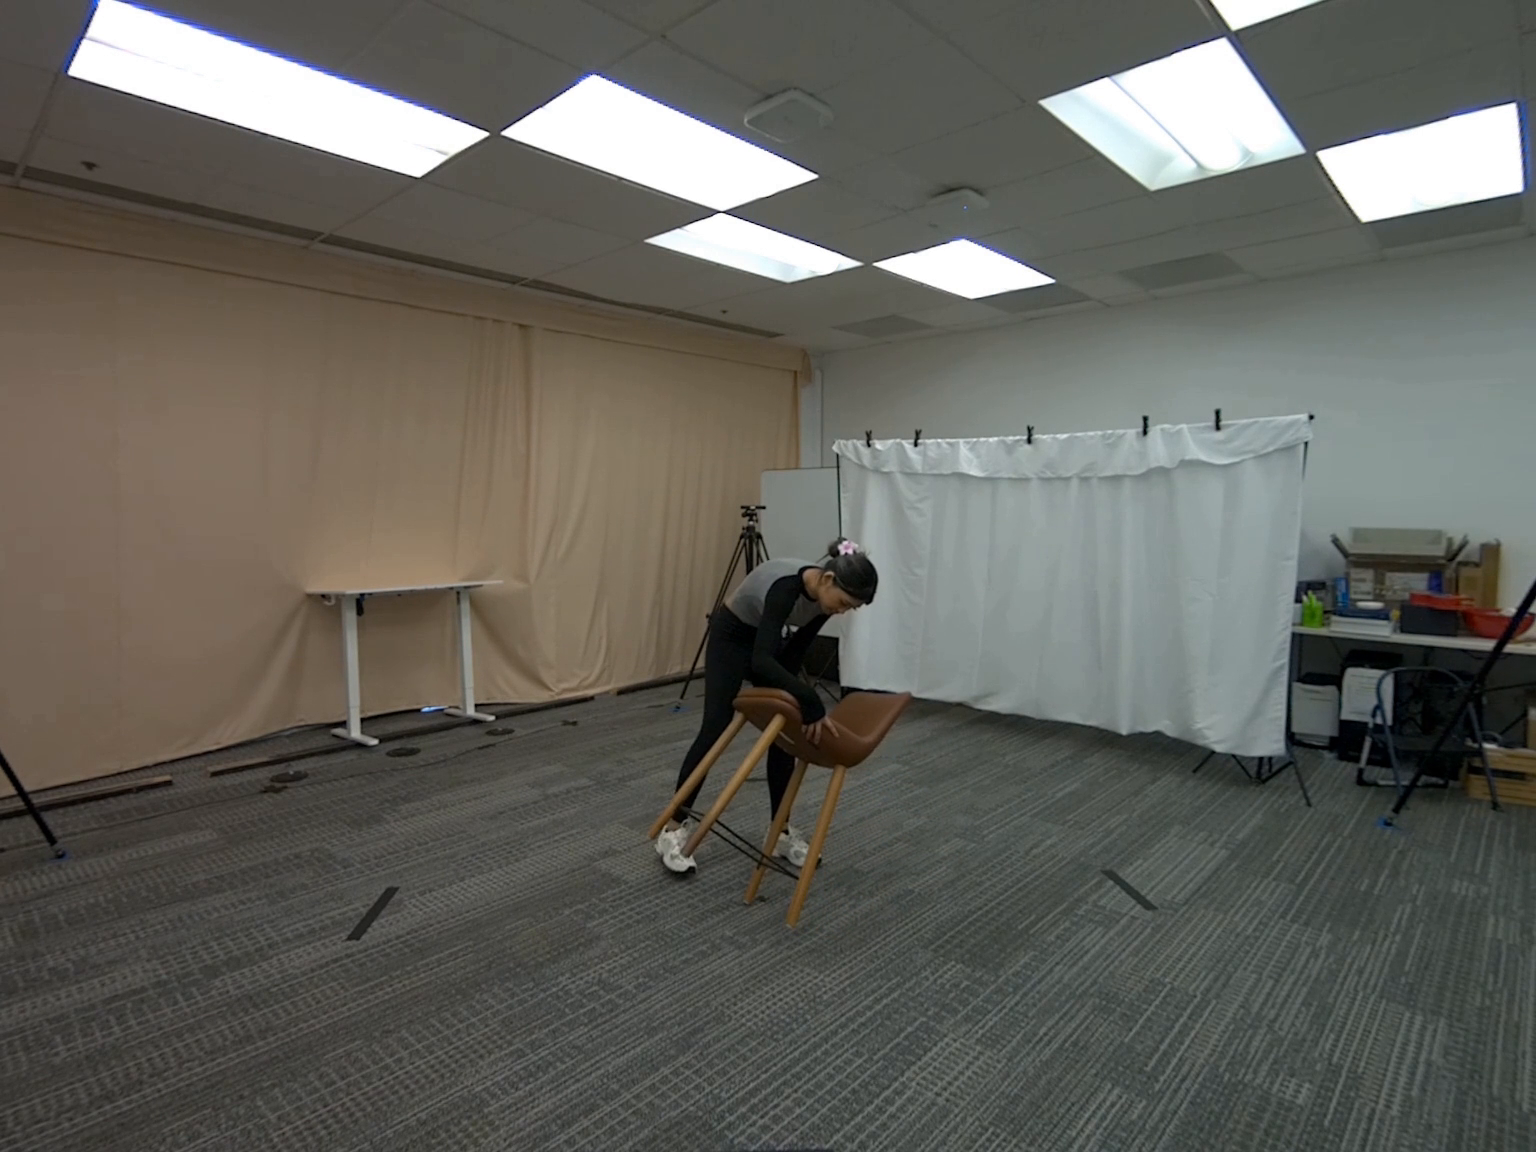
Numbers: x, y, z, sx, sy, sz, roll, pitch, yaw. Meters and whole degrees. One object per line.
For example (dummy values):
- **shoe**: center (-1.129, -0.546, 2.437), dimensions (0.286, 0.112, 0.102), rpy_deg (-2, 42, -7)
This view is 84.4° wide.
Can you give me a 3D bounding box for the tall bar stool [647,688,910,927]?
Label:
- **tall bar stool**: center (0.058, 0.655, 2.888), dimensions (0.461, 0.888, 0.464), rpy_deg (38, -20, -13)
